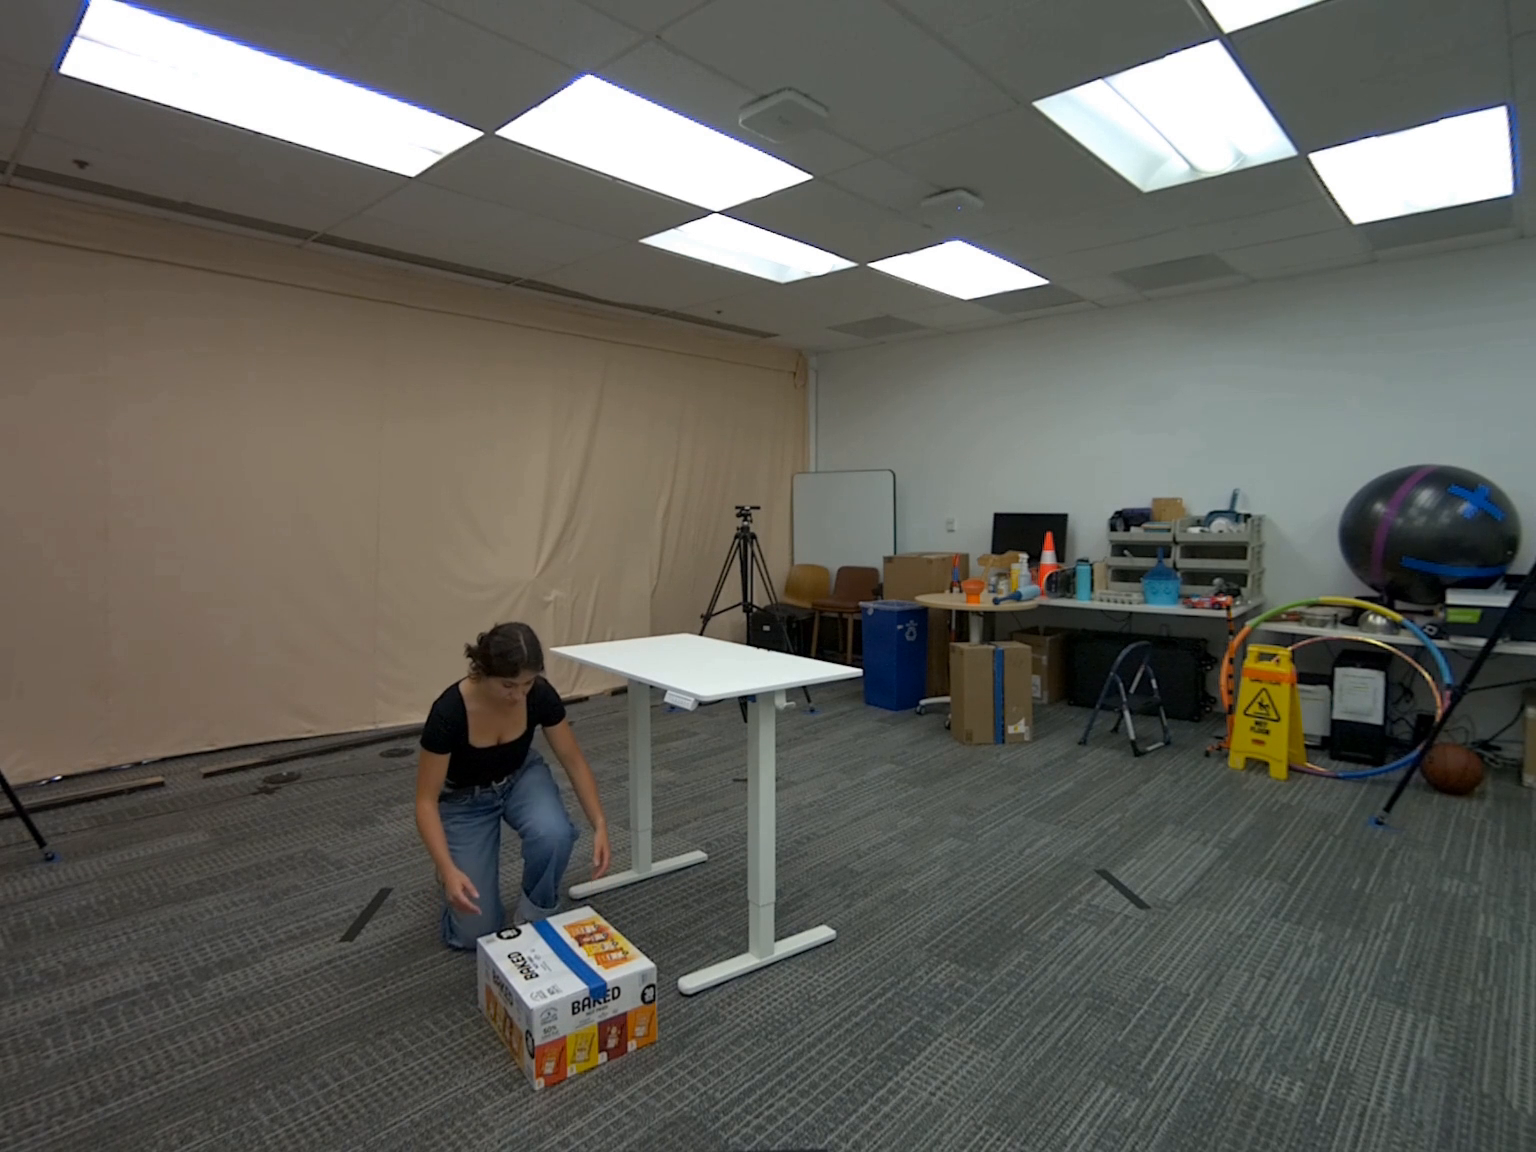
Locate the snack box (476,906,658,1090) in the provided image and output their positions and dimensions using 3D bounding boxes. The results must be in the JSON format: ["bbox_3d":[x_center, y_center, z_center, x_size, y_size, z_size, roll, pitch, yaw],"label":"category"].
[{"bbox_3d":[-0.545,1.108,2.251,0.330,0.205,0.418,-3,5,-36],"label":"snack box"}]
